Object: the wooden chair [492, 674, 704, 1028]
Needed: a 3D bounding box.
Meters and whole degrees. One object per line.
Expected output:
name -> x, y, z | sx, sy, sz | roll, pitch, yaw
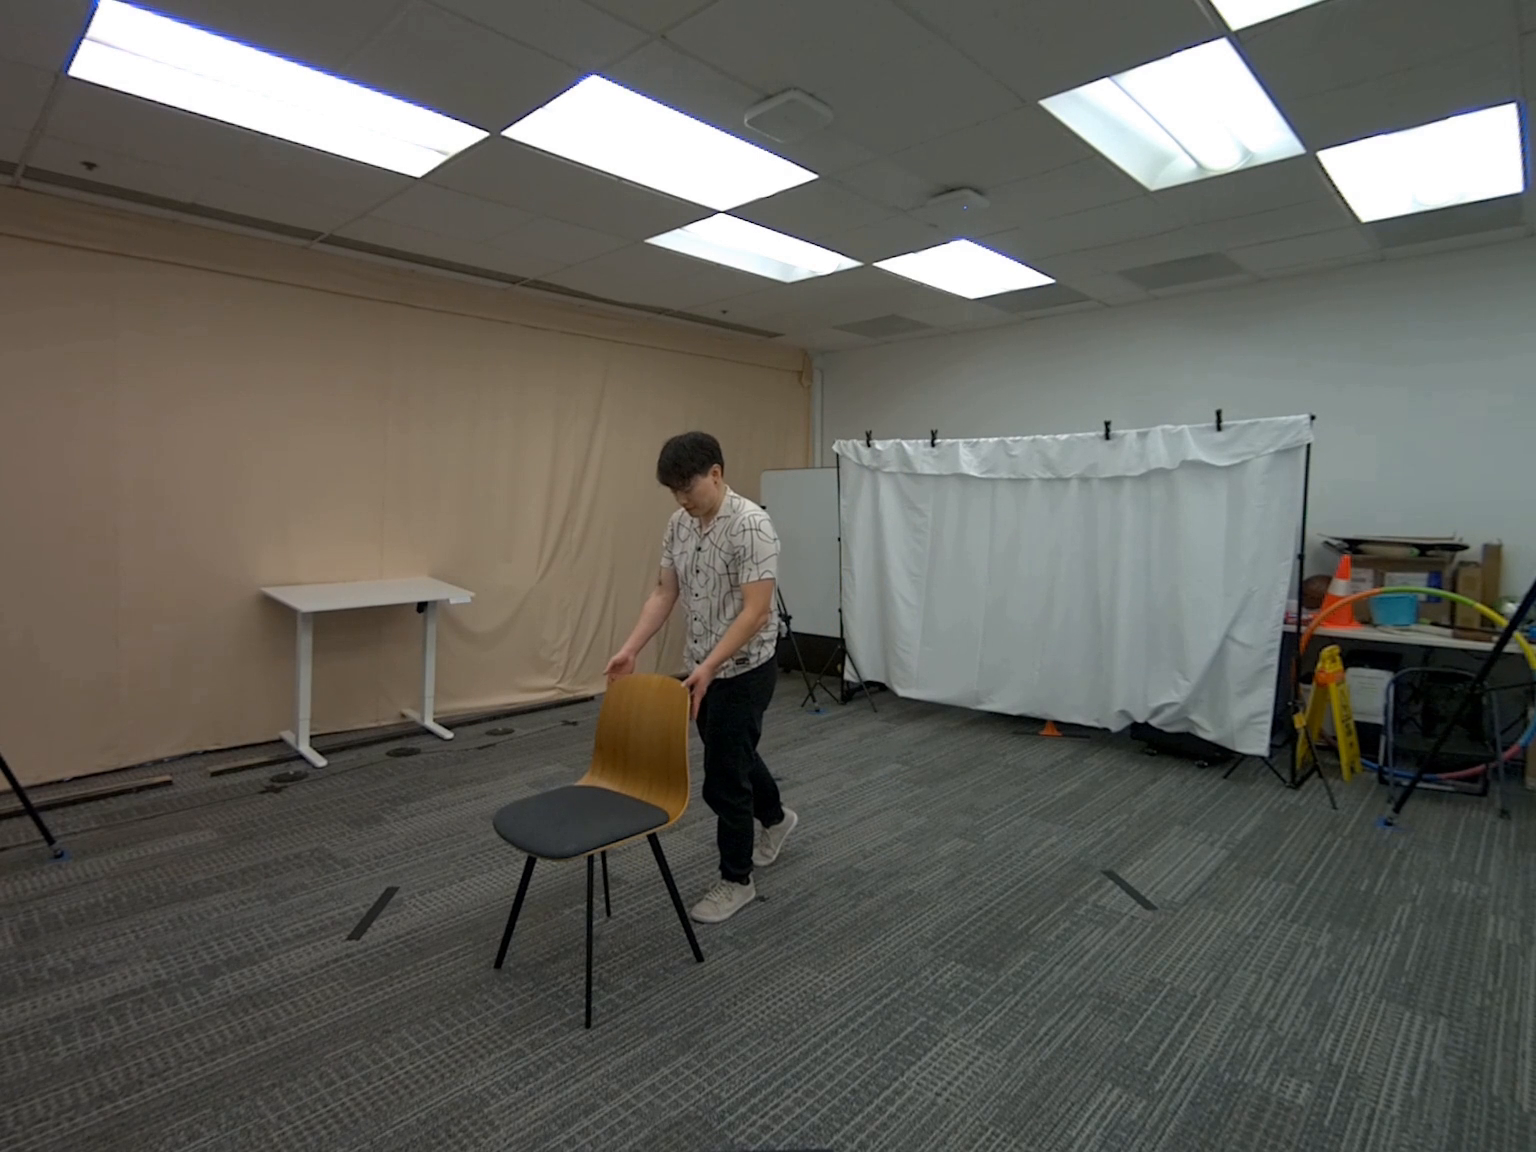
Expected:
wooden chair -> -0.515, 0.757, 2.524 | 0.494, 0.877, 0.506 | 3, 0, 41
